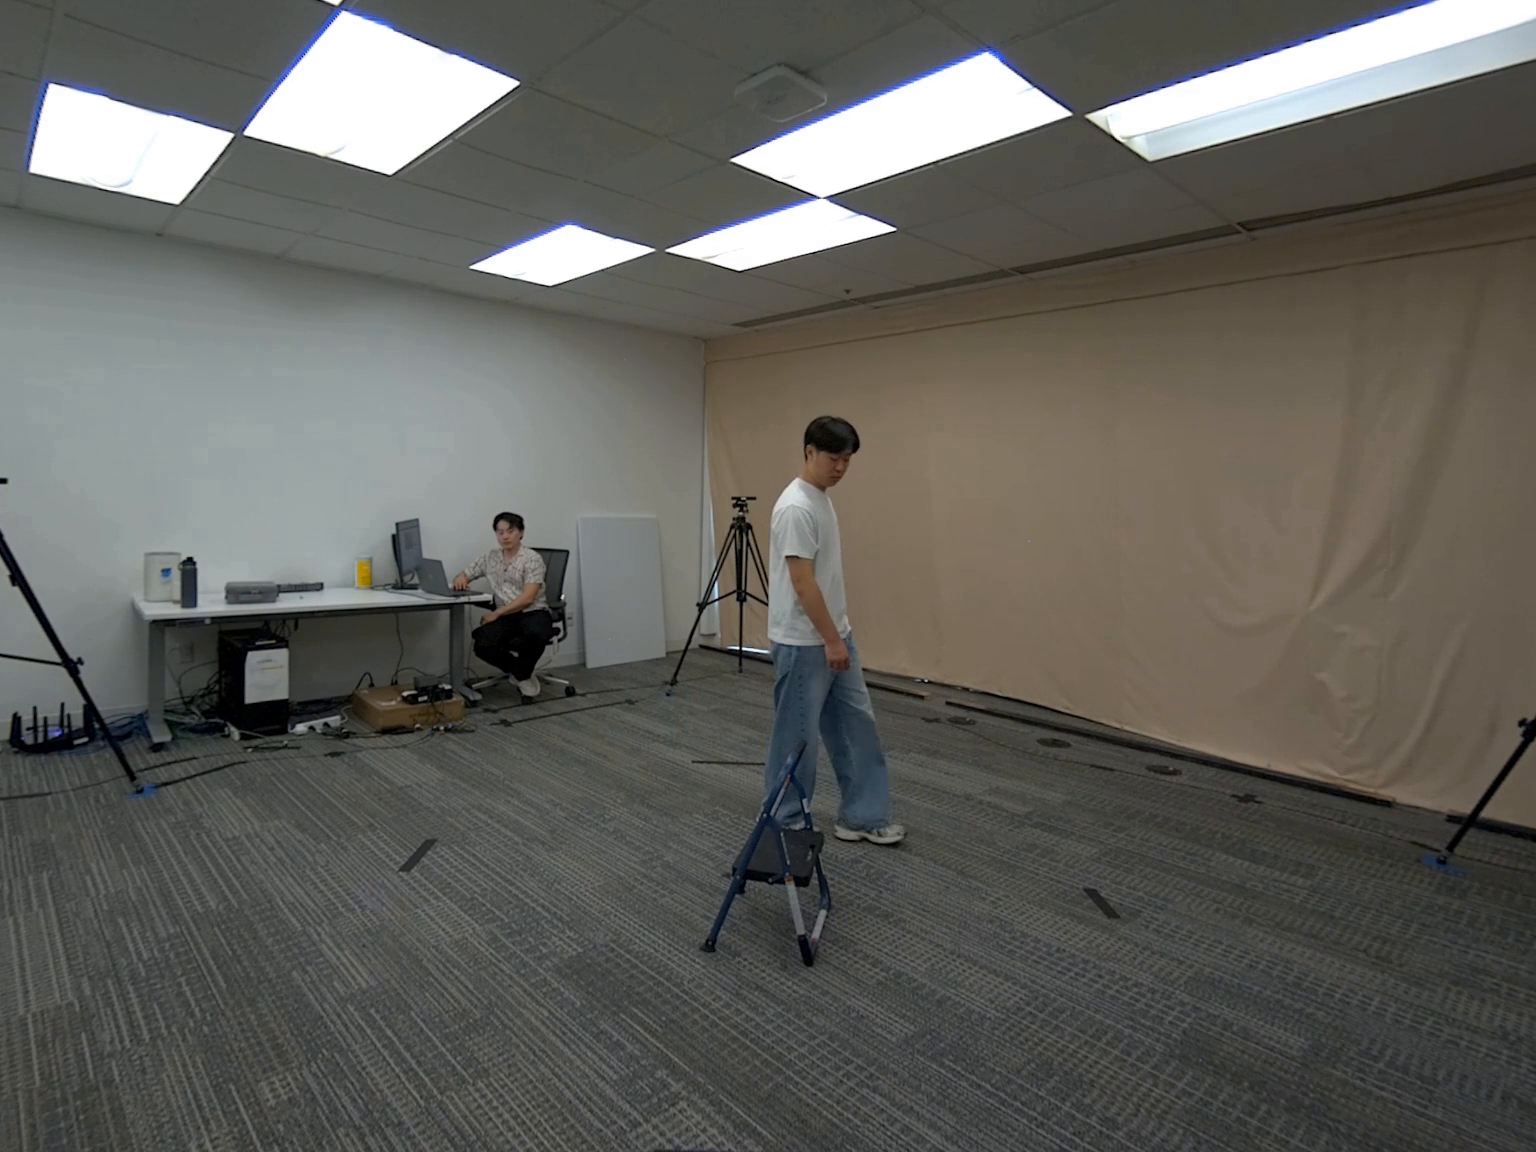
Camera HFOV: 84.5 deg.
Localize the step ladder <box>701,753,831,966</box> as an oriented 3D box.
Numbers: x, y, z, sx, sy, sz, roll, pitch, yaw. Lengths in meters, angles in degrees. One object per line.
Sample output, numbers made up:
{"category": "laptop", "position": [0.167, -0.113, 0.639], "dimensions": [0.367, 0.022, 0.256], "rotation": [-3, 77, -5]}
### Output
{"category": "step ladder", "position": [0.011, 0.844, 2.722], "dimensions": [0.353, 0.604, 0.427], "rotation": [2, 4, 12]}
